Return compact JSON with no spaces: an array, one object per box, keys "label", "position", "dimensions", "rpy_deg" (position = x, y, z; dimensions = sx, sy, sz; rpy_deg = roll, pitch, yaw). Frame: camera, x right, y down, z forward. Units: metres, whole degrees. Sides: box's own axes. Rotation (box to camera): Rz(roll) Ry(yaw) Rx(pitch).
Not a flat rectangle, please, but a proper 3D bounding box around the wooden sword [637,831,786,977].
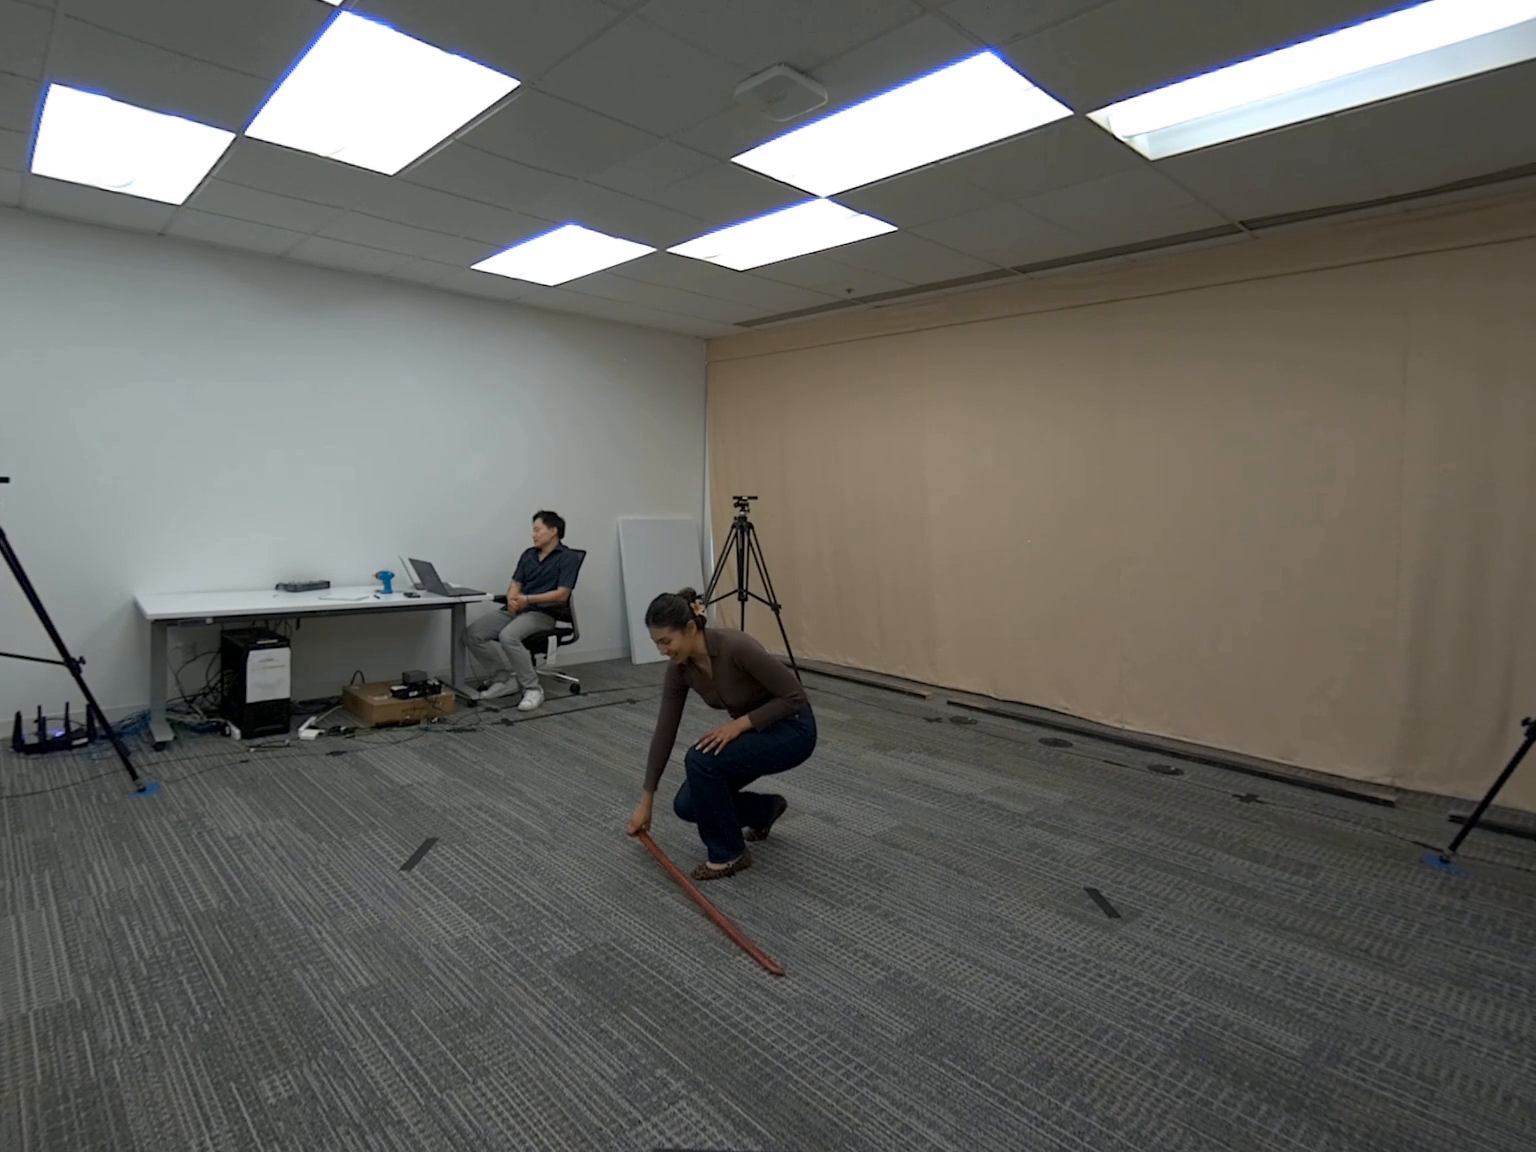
[{"label":"wooden sword","position":[-0.249,1.083,2.865],"dimensions":[0.023,0.051,1.052],"rpy_deg":[12,2,-34]}]
